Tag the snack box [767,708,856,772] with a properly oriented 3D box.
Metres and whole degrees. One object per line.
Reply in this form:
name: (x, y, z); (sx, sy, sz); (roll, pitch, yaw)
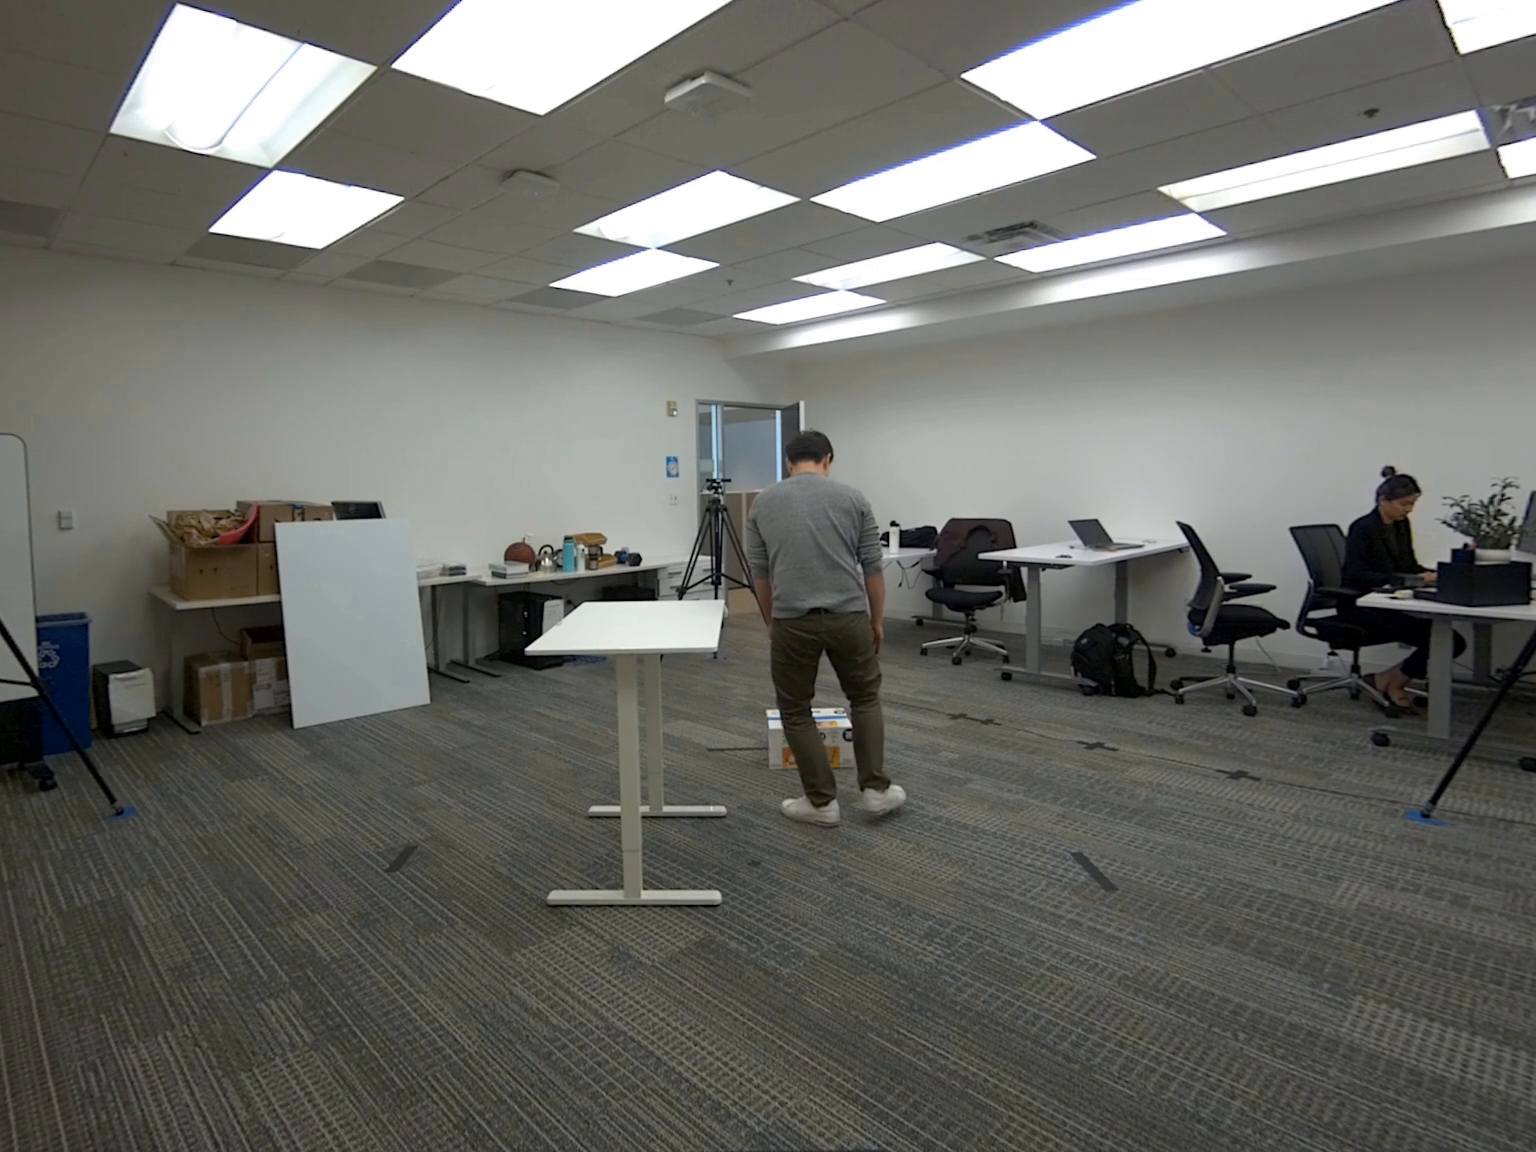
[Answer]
snack box: (0.208, 0.811, 4.276); (0.405, 0.205, 0.342); (-2, 6, -1)
